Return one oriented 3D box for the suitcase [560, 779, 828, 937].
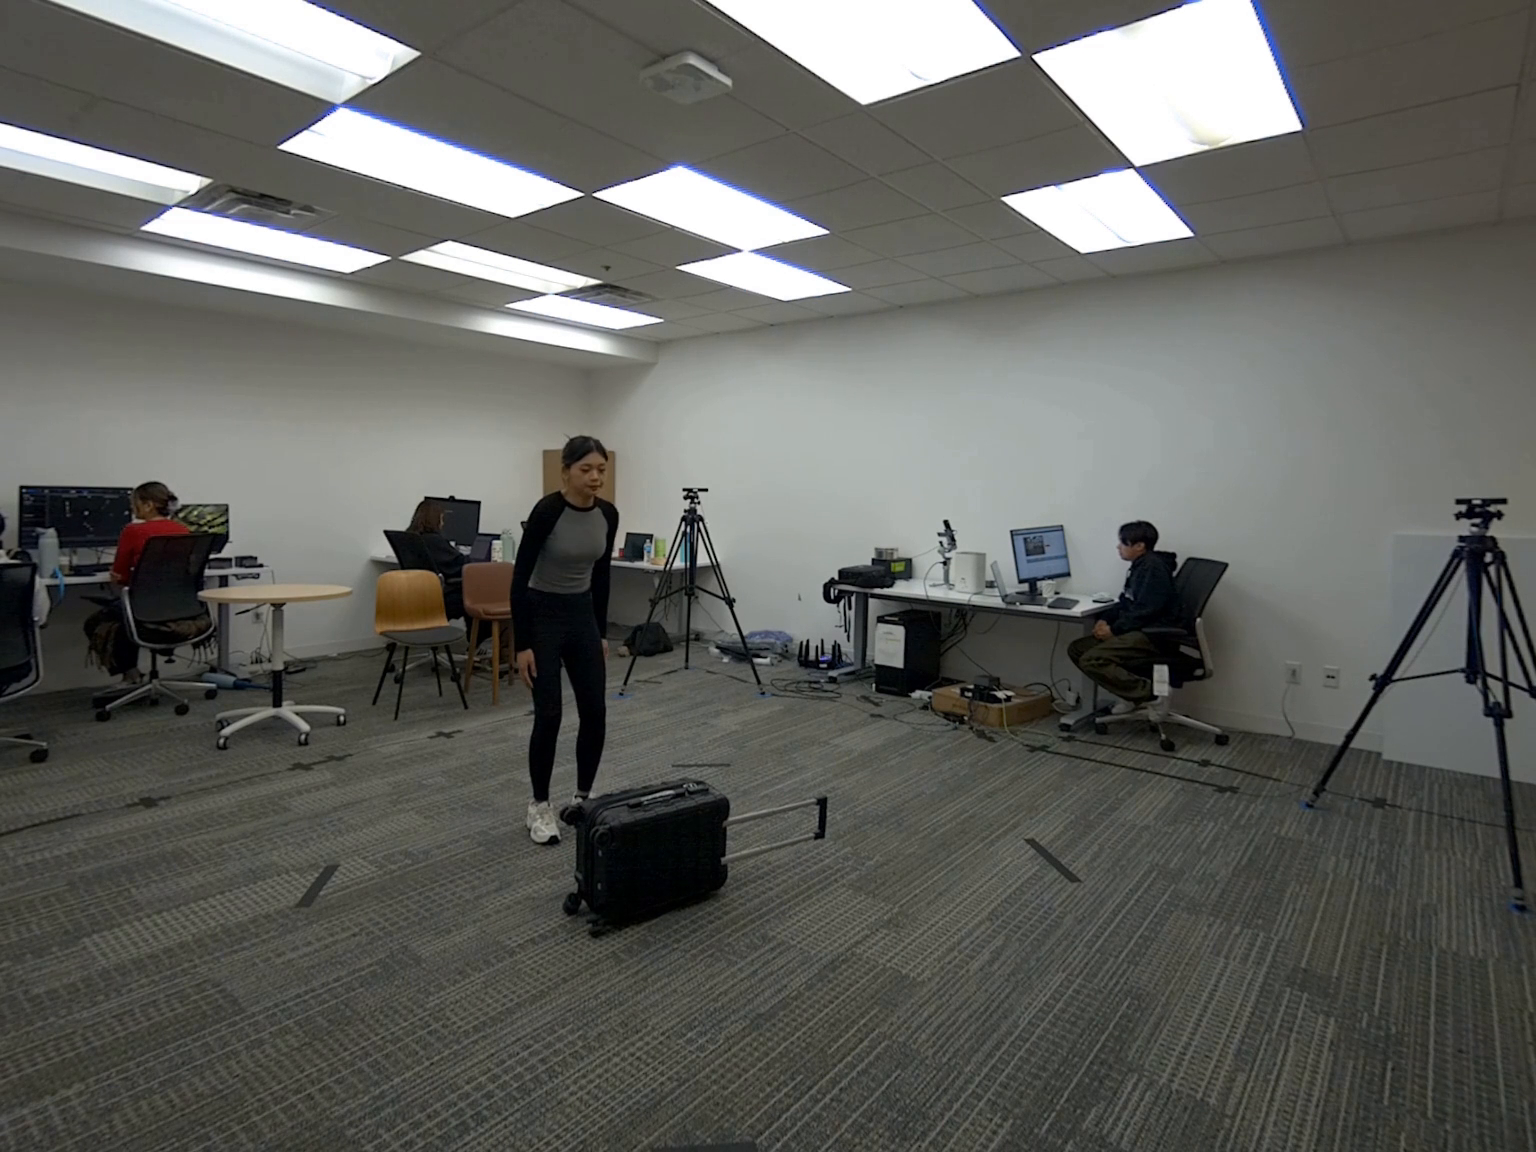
[{"bbox_3d":[-0.244,0.891,2.975,0.950,0.382,0.266,-4,6,-39],"label":"suitcase"}]
